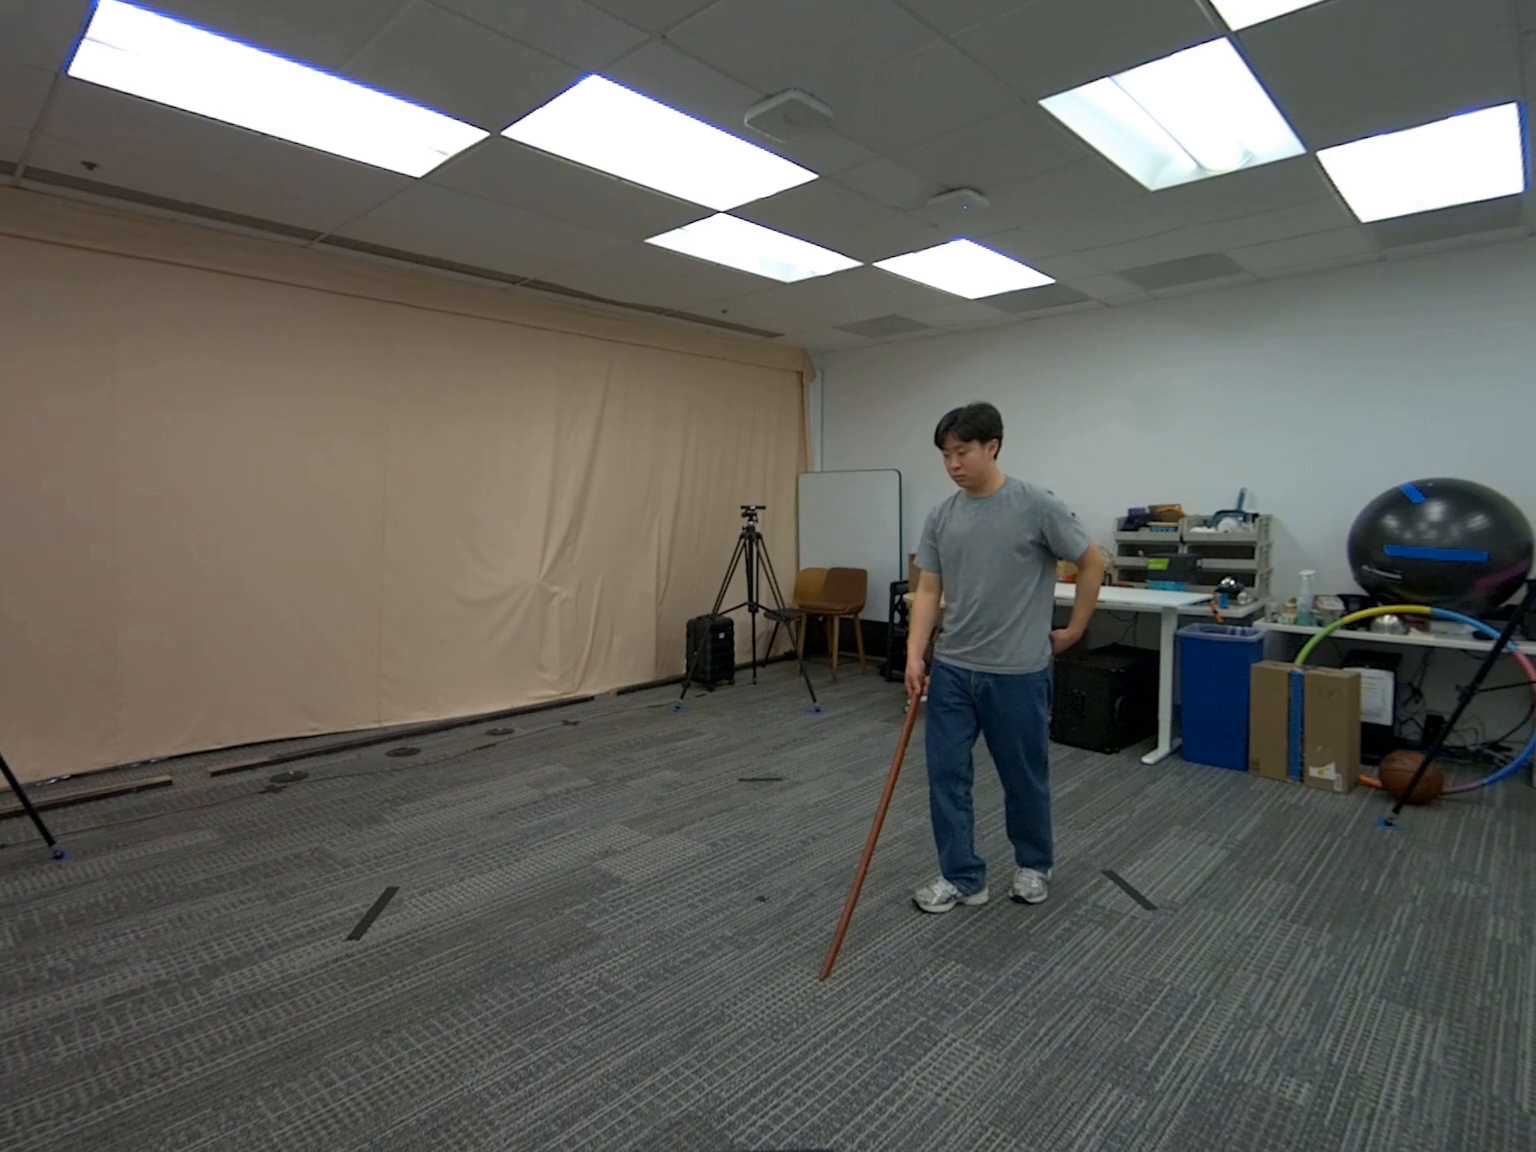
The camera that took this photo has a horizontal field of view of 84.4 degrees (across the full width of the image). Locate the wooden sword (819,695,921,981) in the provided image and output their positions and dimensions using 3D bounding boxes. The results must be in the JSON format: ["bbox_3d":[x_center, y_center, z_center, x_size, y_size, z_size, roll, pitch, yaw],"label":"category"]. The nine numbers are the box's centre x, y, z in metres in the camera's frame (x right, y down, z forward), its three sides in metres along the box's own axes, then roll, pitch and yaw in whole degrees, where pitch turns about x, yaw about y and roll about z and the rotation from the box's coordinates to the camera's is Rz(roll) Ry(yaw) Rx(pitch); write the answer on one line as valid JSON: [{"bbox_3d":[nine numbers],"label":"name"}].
[{"bbox_3d":[0.363,0.785,2.688,0.025,1.027,0.049,5,-33,35],"label":"wooden sword"}]
